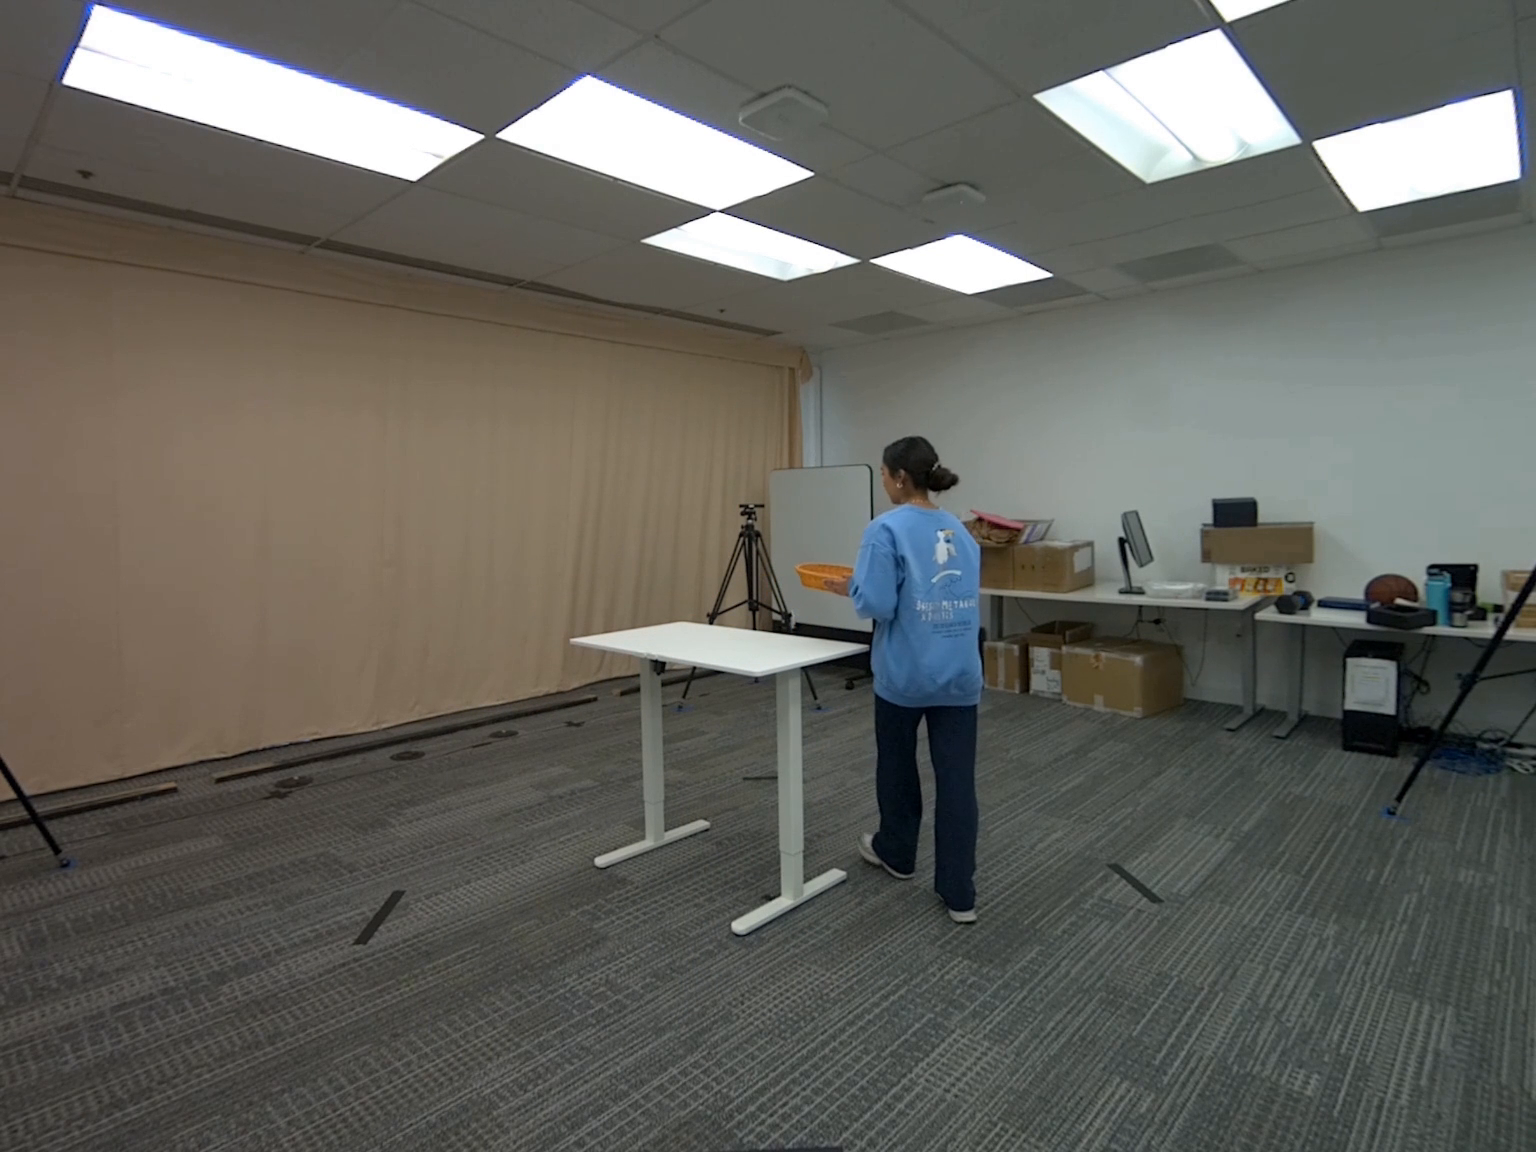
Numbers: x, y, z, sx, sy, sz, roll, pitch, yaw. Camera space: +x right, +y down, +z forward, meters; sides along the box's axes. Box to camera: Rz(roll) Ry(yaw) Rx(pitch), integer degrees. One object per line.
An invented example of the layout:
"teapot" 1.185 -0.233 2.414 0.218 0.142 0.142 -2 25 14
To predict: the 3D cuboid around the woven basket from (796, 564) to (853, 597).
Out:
"woven basket" 0.274 0.025 3.215 0.360 0.073 0.247 7 11 26
